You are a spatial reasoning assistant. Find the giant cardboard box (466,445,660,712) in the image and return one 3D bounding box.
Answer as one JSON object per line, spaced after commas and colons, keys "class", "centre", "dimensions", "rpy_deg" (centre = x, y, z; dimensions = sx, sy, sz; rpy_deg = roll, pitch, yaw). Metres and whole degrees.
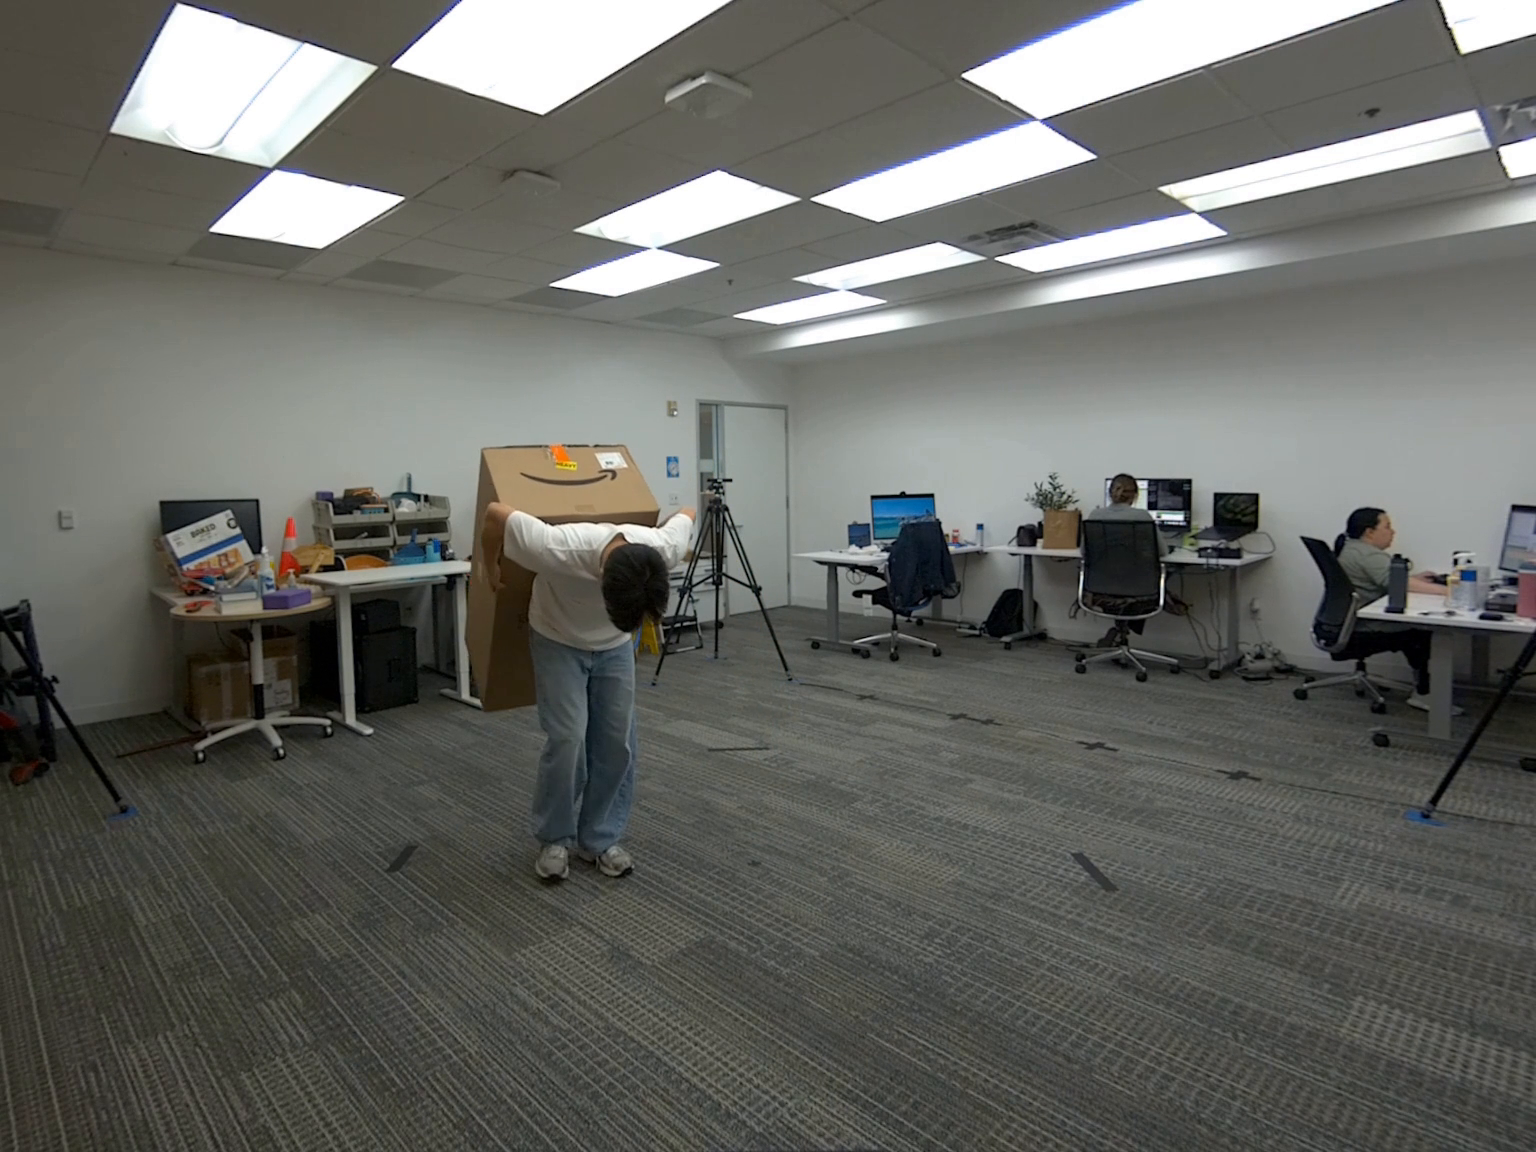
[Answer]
{"class": "giant cardboard box", "centre": [-0.867, 0.021, 3.447], "dimensions": [0.565, 1.009, 0.443], "rpy_deg": [-5, 43, -29]}
